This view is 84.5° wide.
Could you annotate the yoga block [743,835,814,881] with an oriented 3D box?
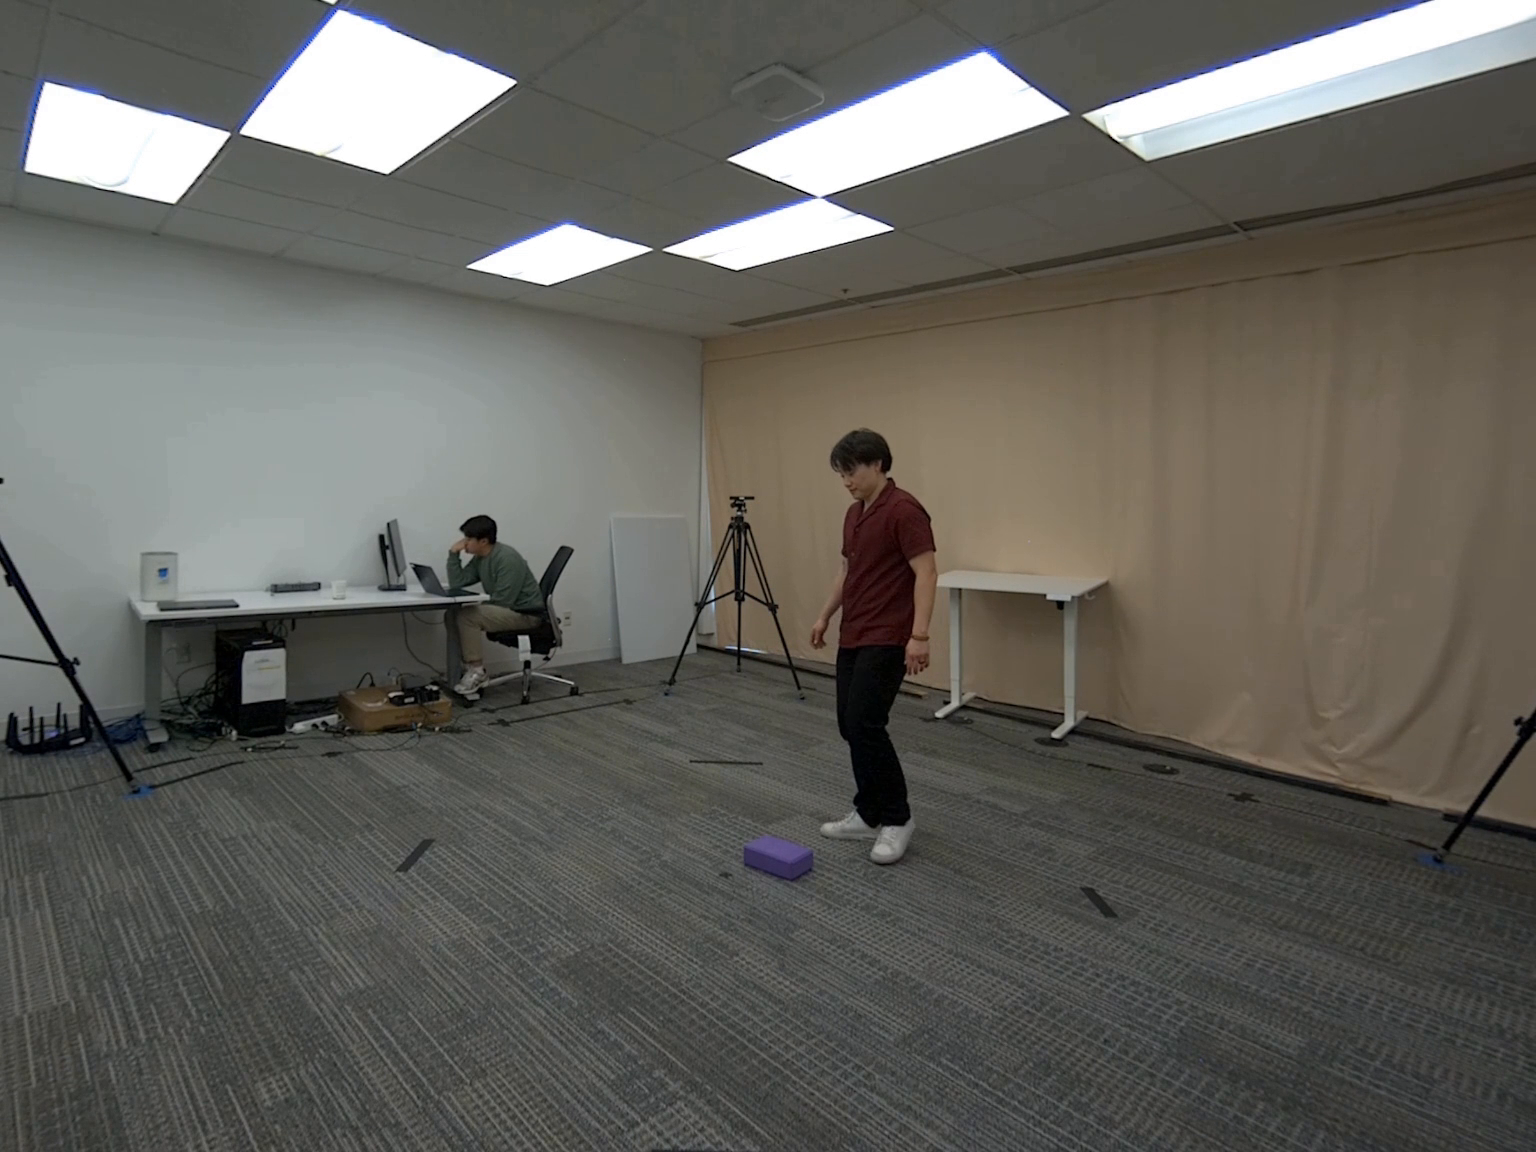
[{"bbox_3d":[0.031,1.063,3.179,0.235,0.076,0.146,4,6,38],"label":"yoga block"}]
